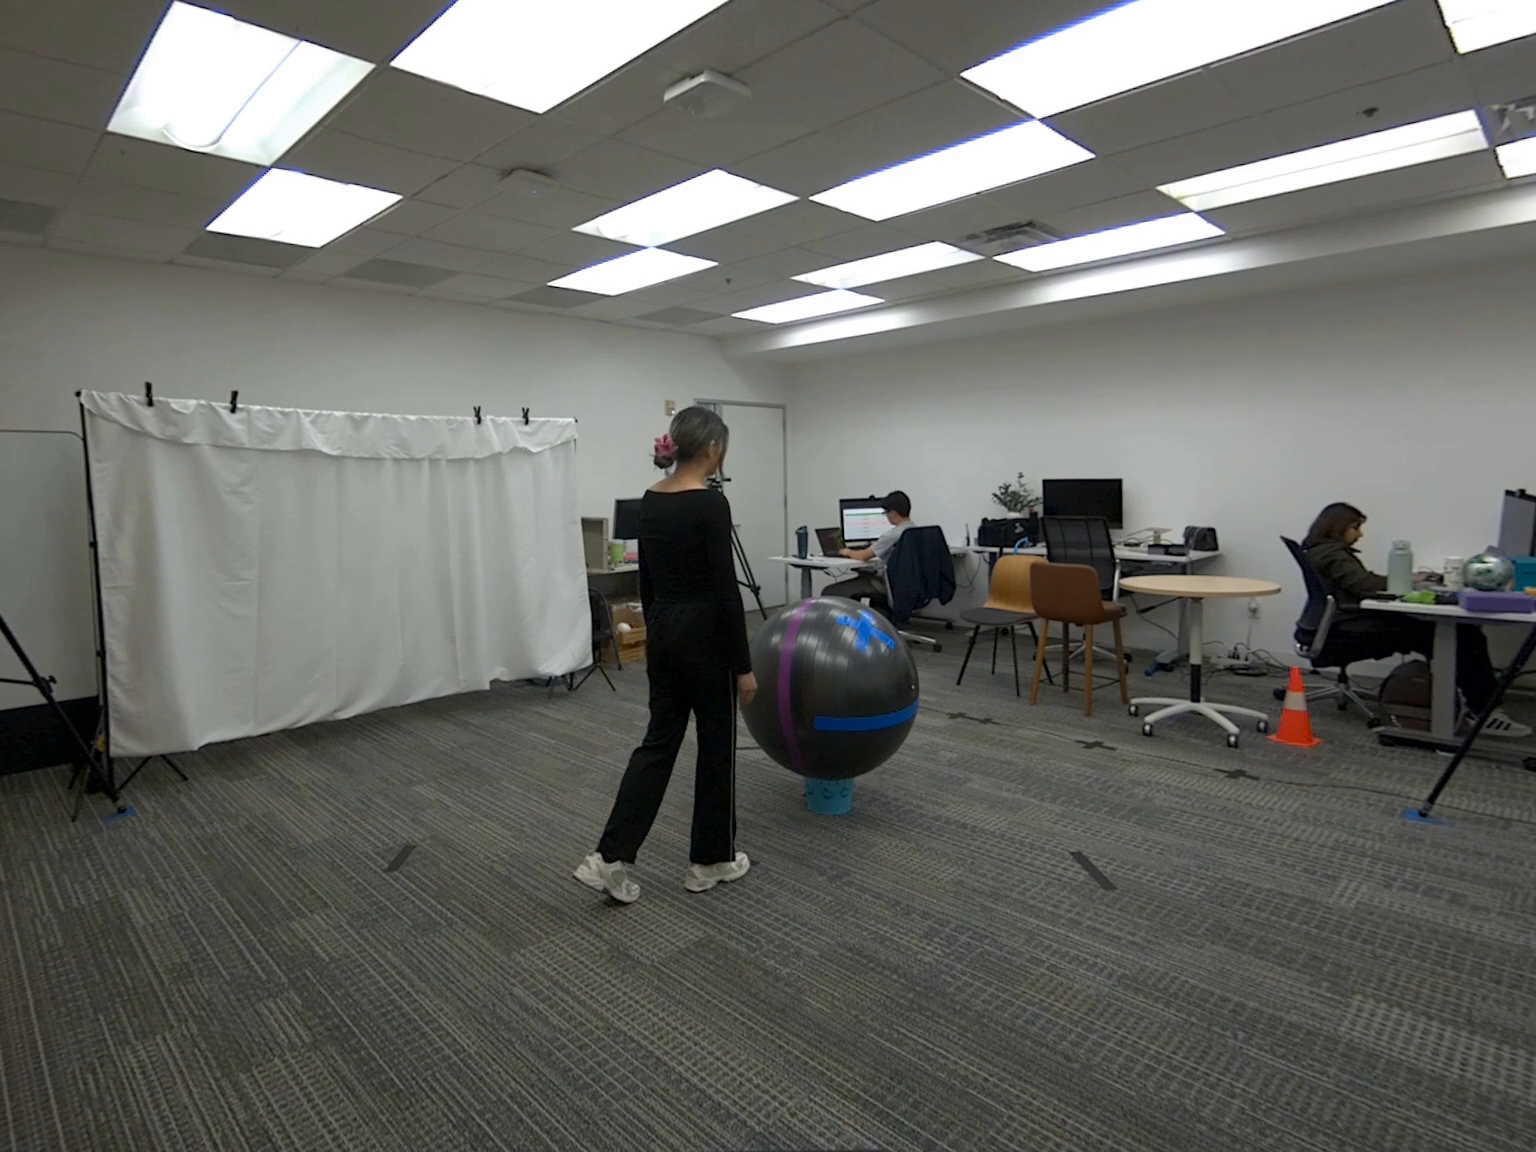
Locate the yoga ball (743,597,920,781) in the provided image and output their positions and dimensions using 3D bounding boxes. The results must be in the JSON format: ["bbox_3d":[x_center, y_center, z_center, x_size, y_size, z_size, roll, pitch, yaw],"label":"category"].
[{"bbox_3d":[0.248,0.466,3.602,0.757,0.755,0.762,-1,5,-2],"label":"yoga ball"}]
